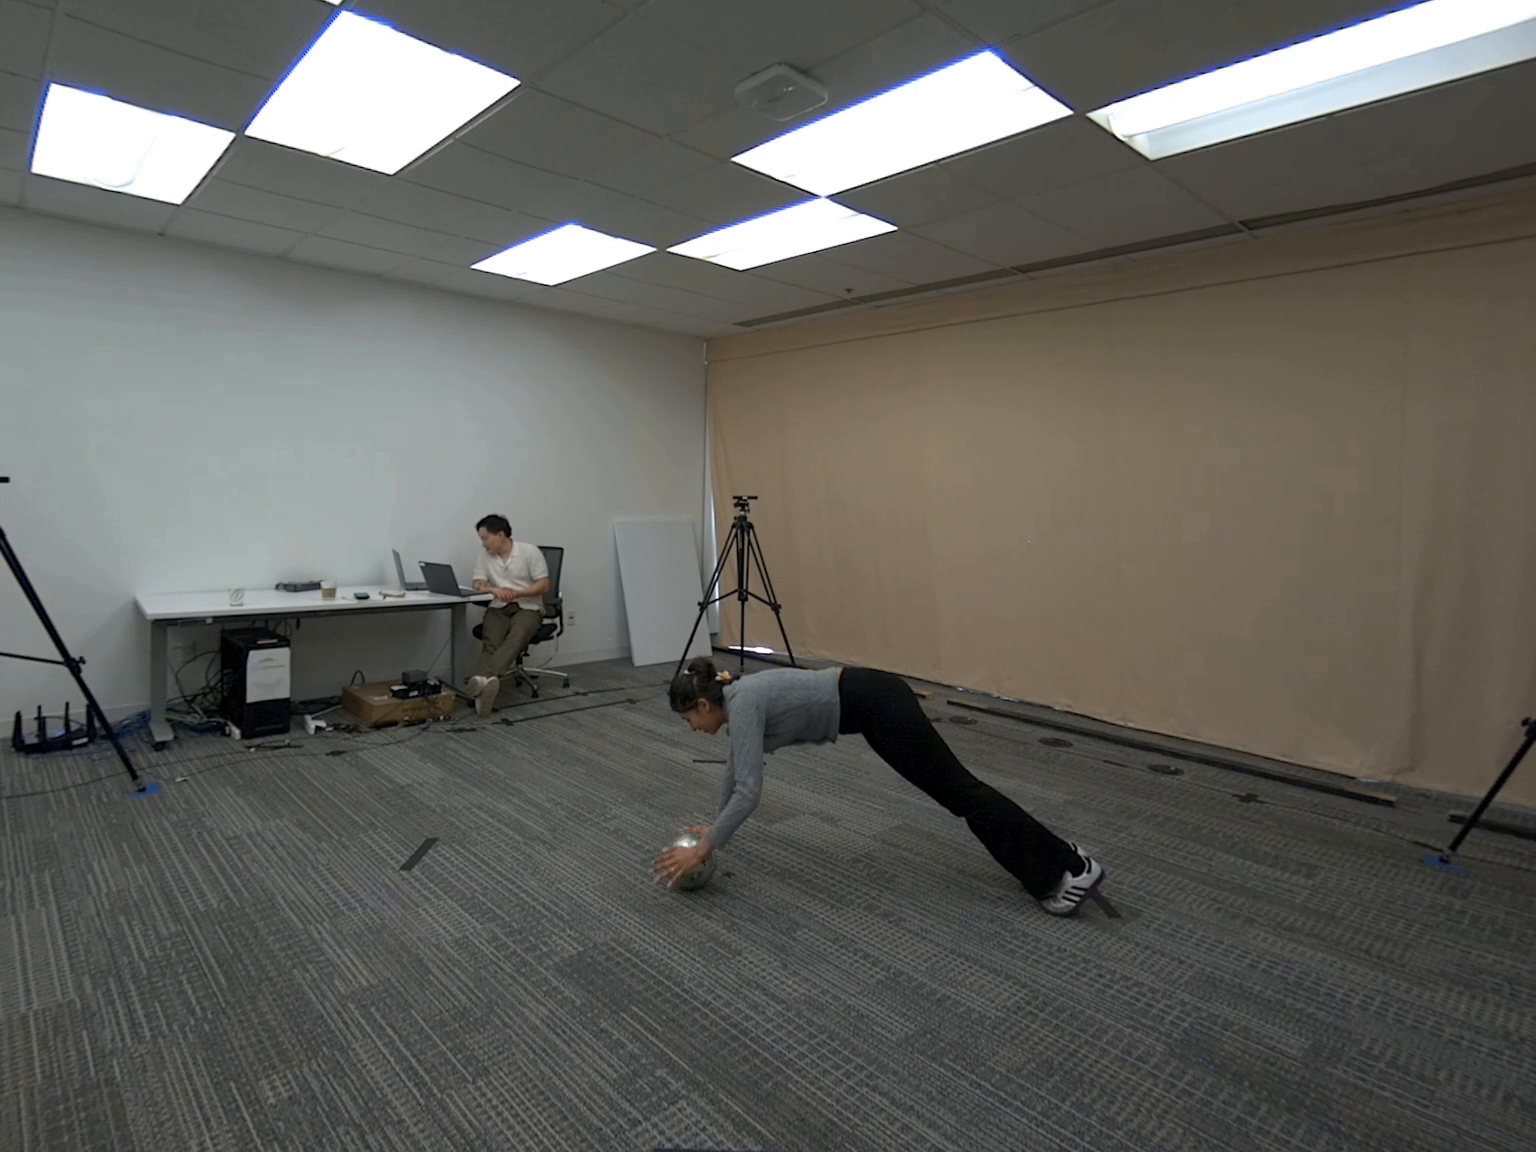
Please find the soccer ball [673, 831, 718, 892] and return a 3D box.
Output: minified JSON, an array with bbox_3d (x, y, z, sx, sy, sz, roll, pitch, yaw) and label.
[{"bbox_3d":[-0.282,1.015,2.999,0.187,0.187,0.188,1,4,-1],"label":"soccer ball"}]
